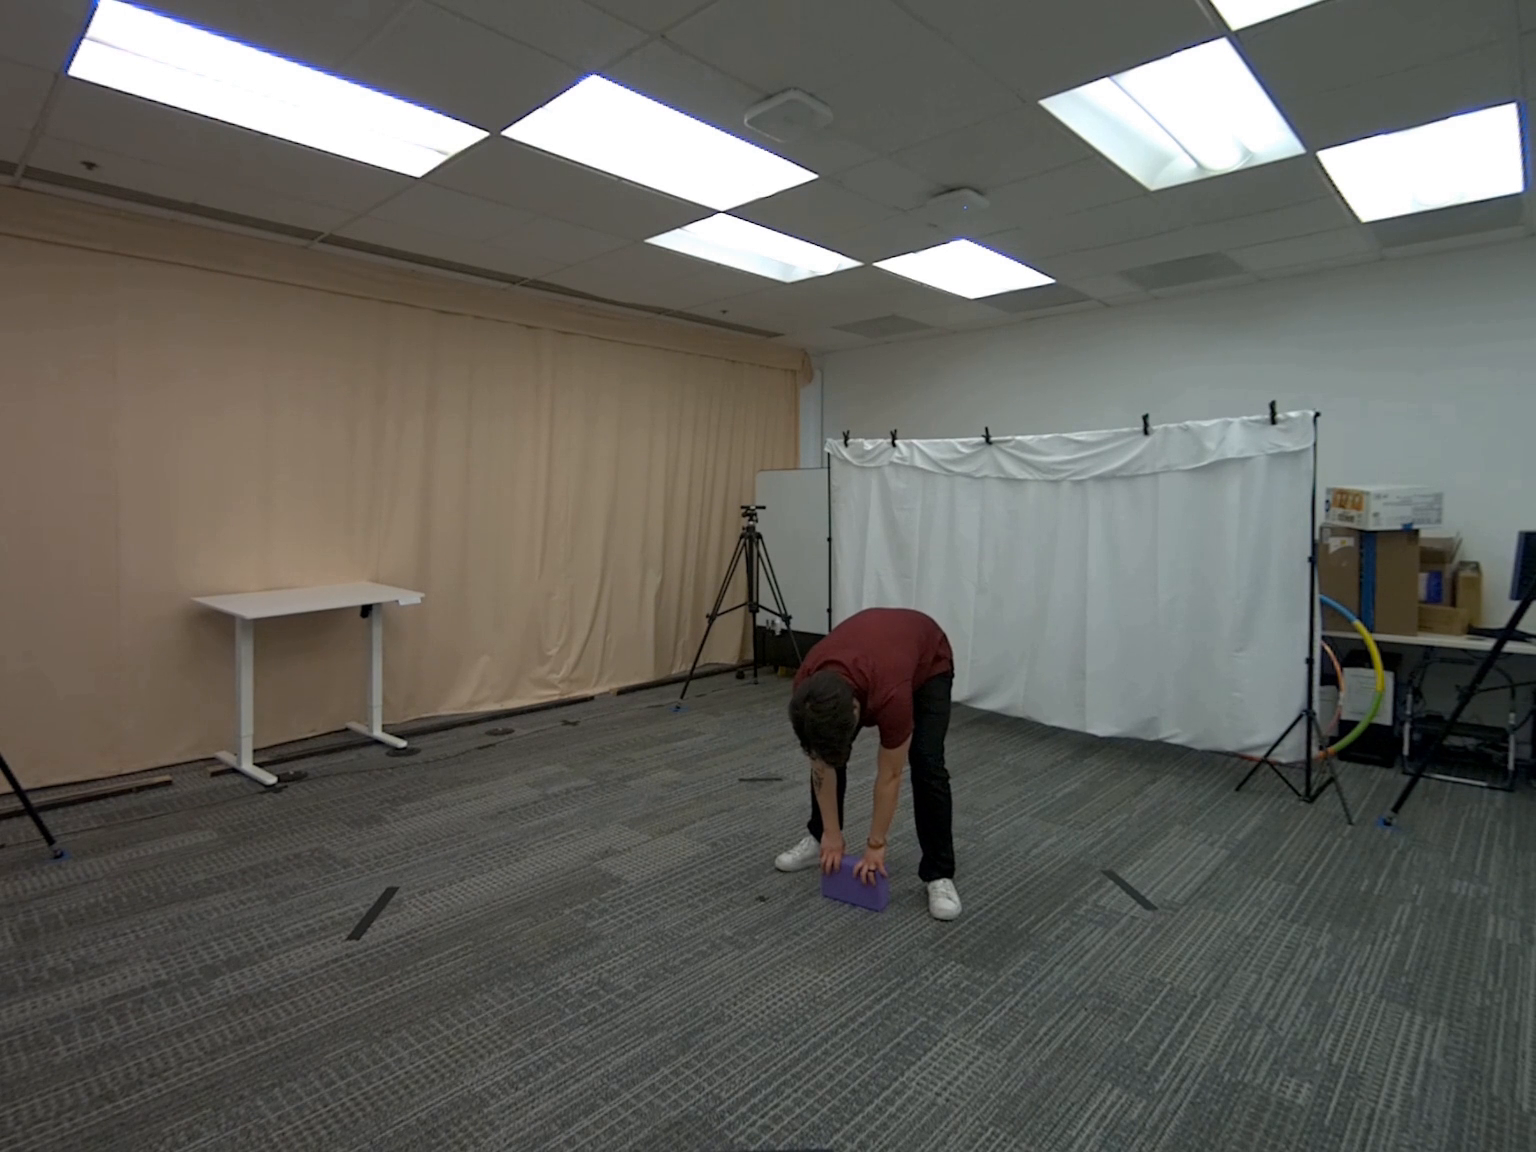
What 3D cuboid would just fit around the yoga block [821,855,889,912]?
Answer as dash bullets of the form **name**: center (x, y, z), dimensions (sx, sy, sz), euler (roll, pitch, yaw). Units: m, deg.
- **yoga block**: center (0.315, 1.072, 2.972), dimensions (0.236, 0.149, 0.074), euler (3, 2, 32)
